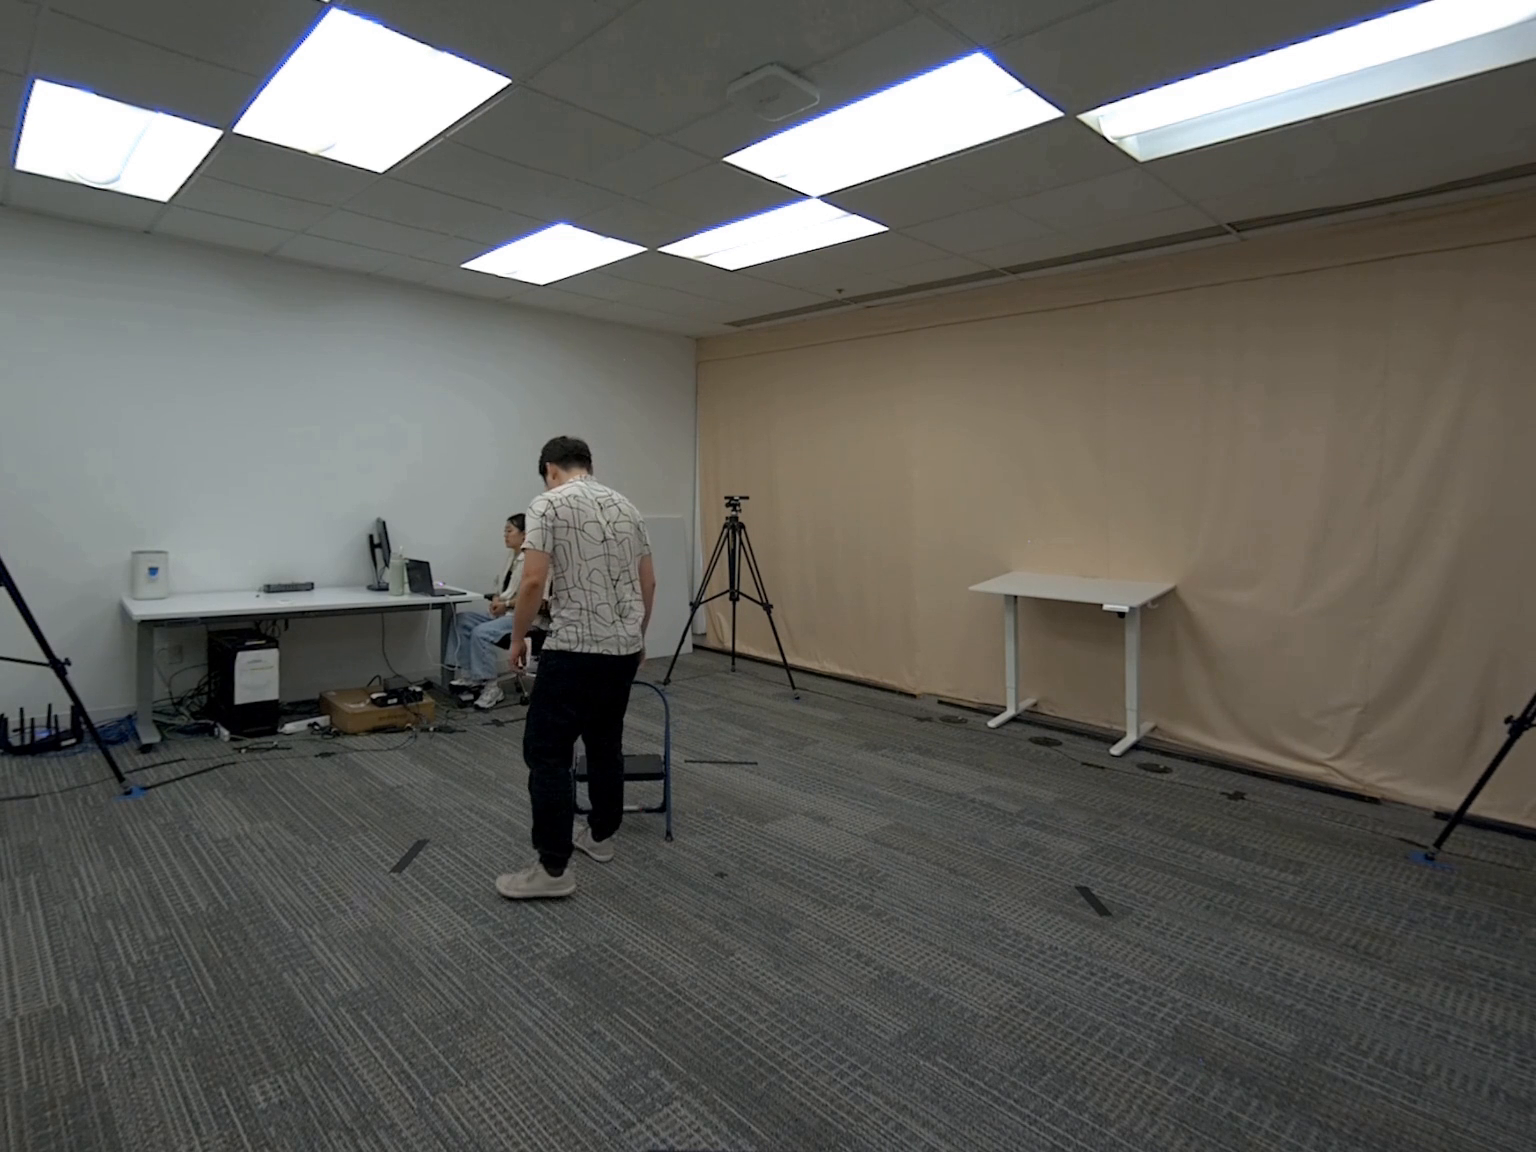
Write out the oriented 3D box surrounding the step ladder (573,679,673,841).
[{"bbox_3d":[-0.624,0.753,3.542,0.428,0.605,0.352,2,3,-8],"label":"step ladder"}]
